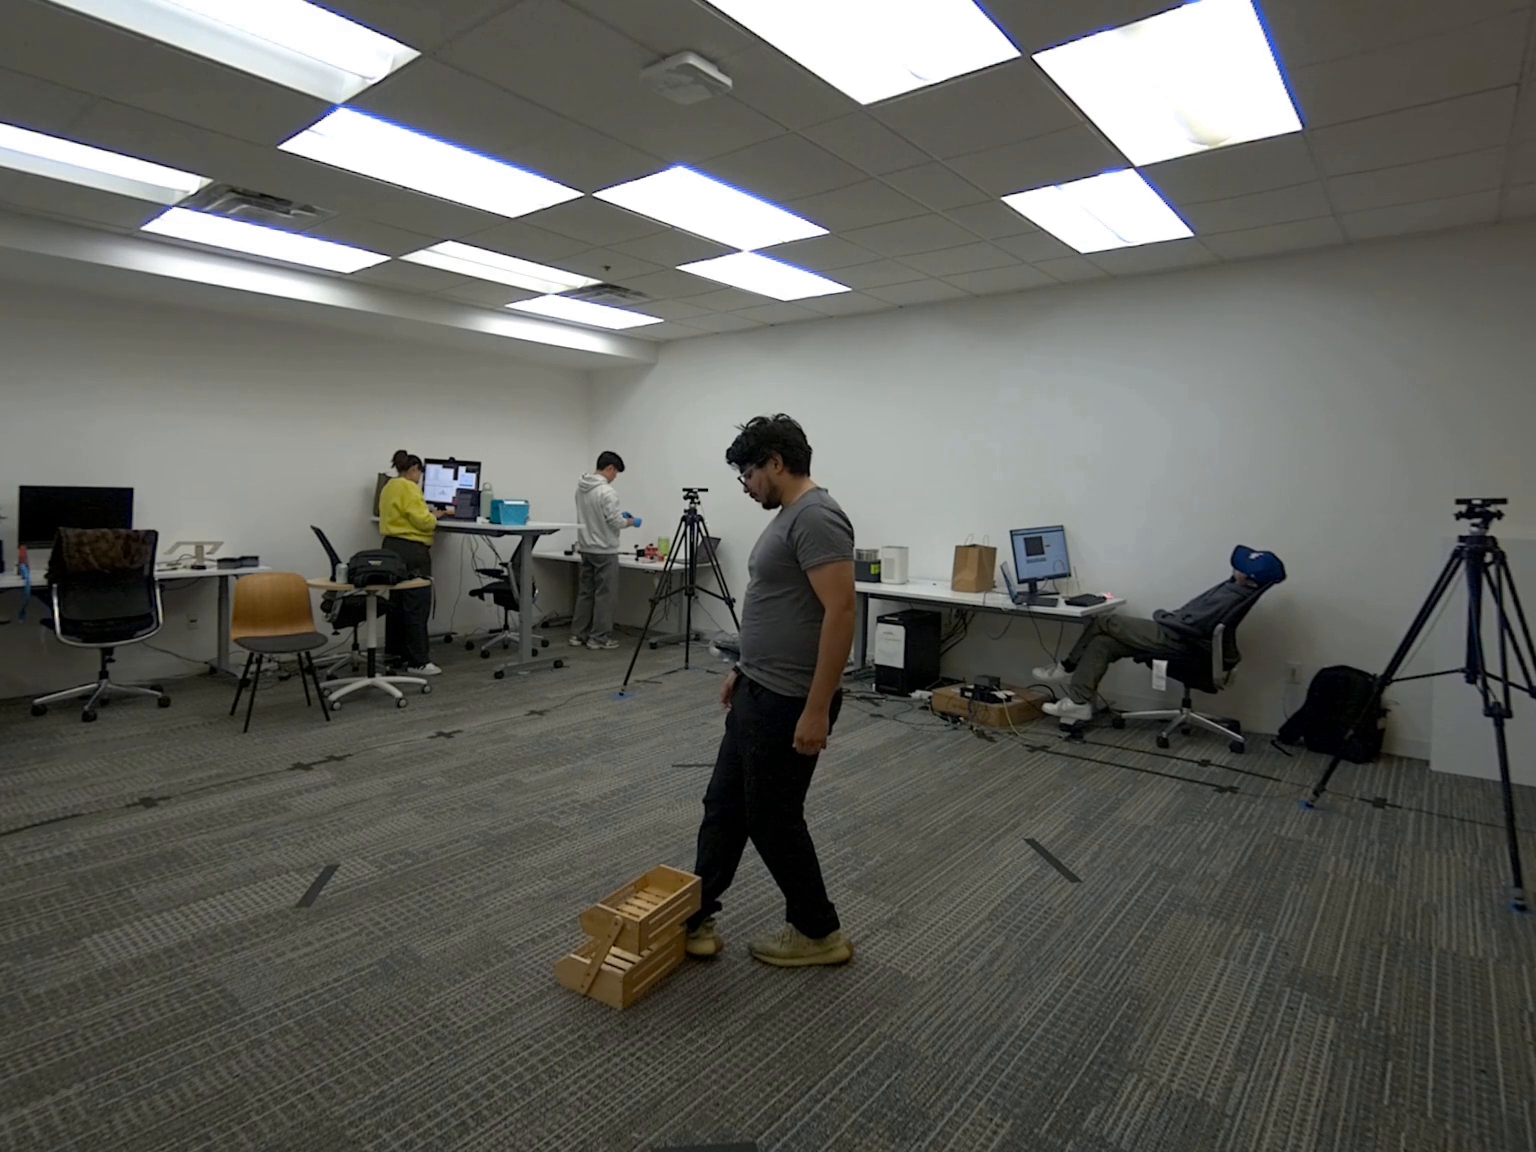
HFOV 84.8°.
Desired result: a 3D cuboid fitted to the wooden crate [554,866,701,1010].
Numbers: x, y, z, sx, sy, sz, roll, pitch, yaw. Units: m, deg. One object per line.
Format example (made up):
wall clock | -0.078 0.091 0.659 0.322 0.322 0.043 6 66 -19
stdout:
wooden crate | -0.408 1.002 2.430 0.311 0.272 0.316 5 5 30
